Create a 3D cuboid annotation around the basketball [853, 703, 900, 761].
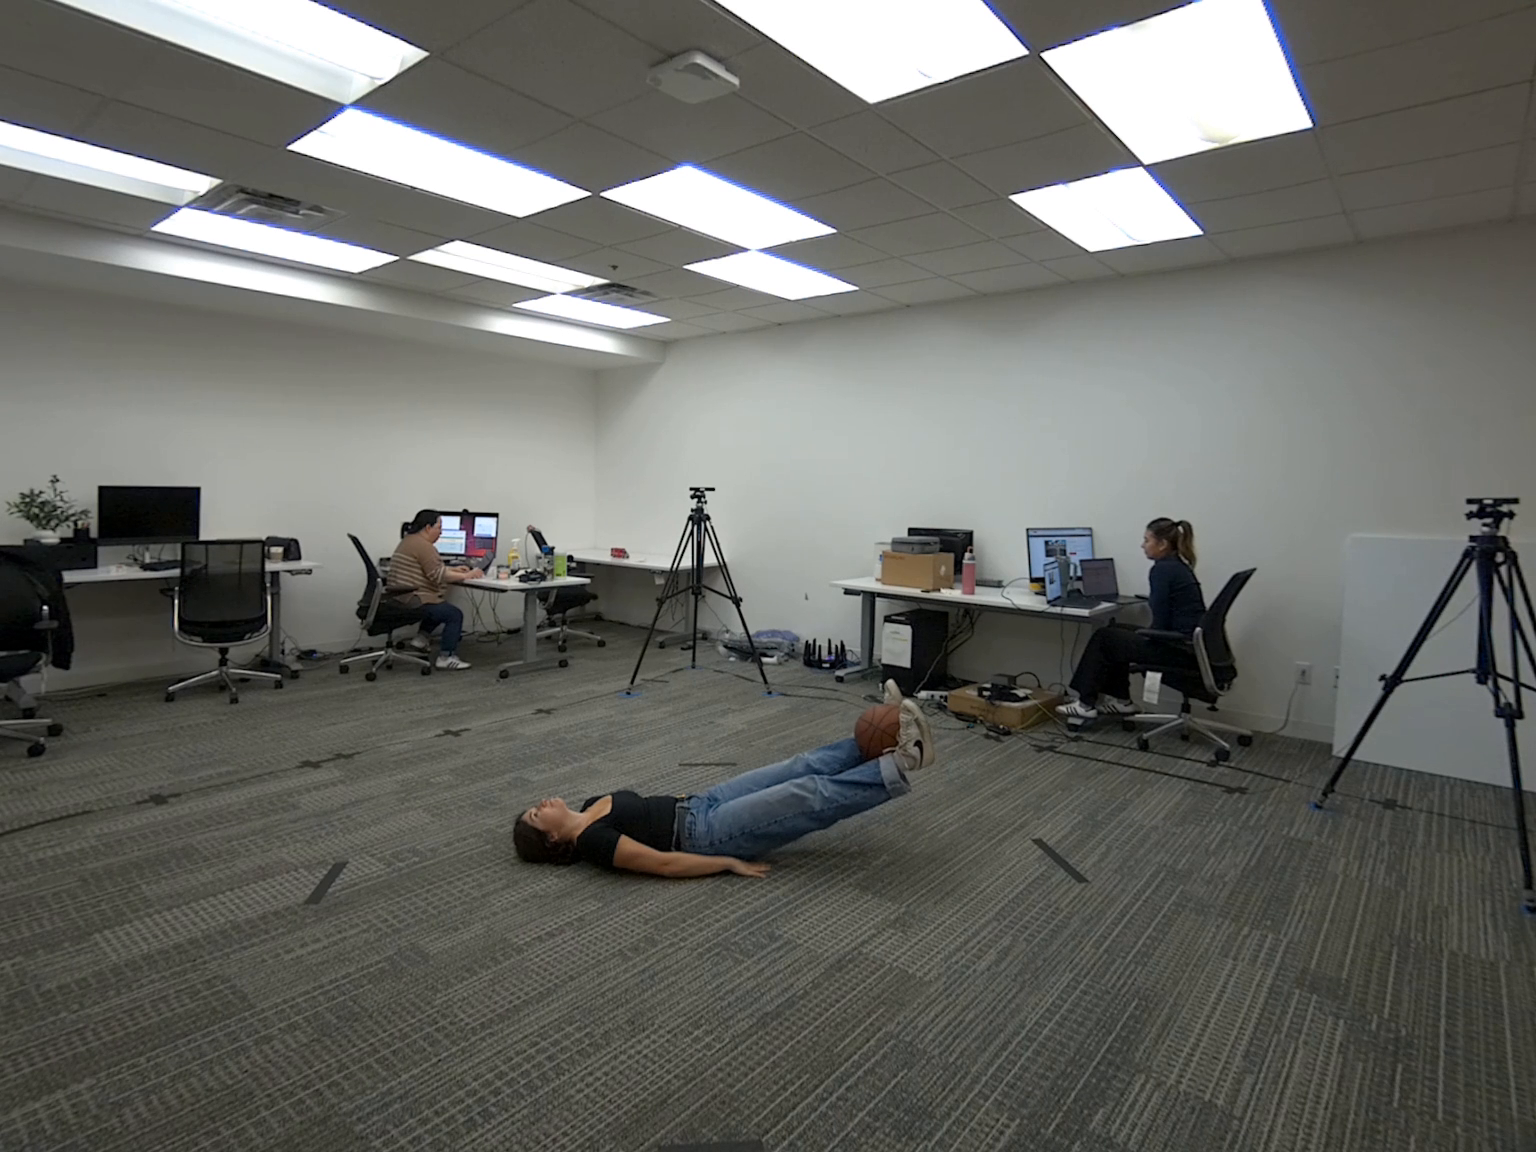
[{"bbox_3d":[0.443,0.610,3.282,0.235,0.235,0.237,1,4,-2],"label":"basketball"}]
